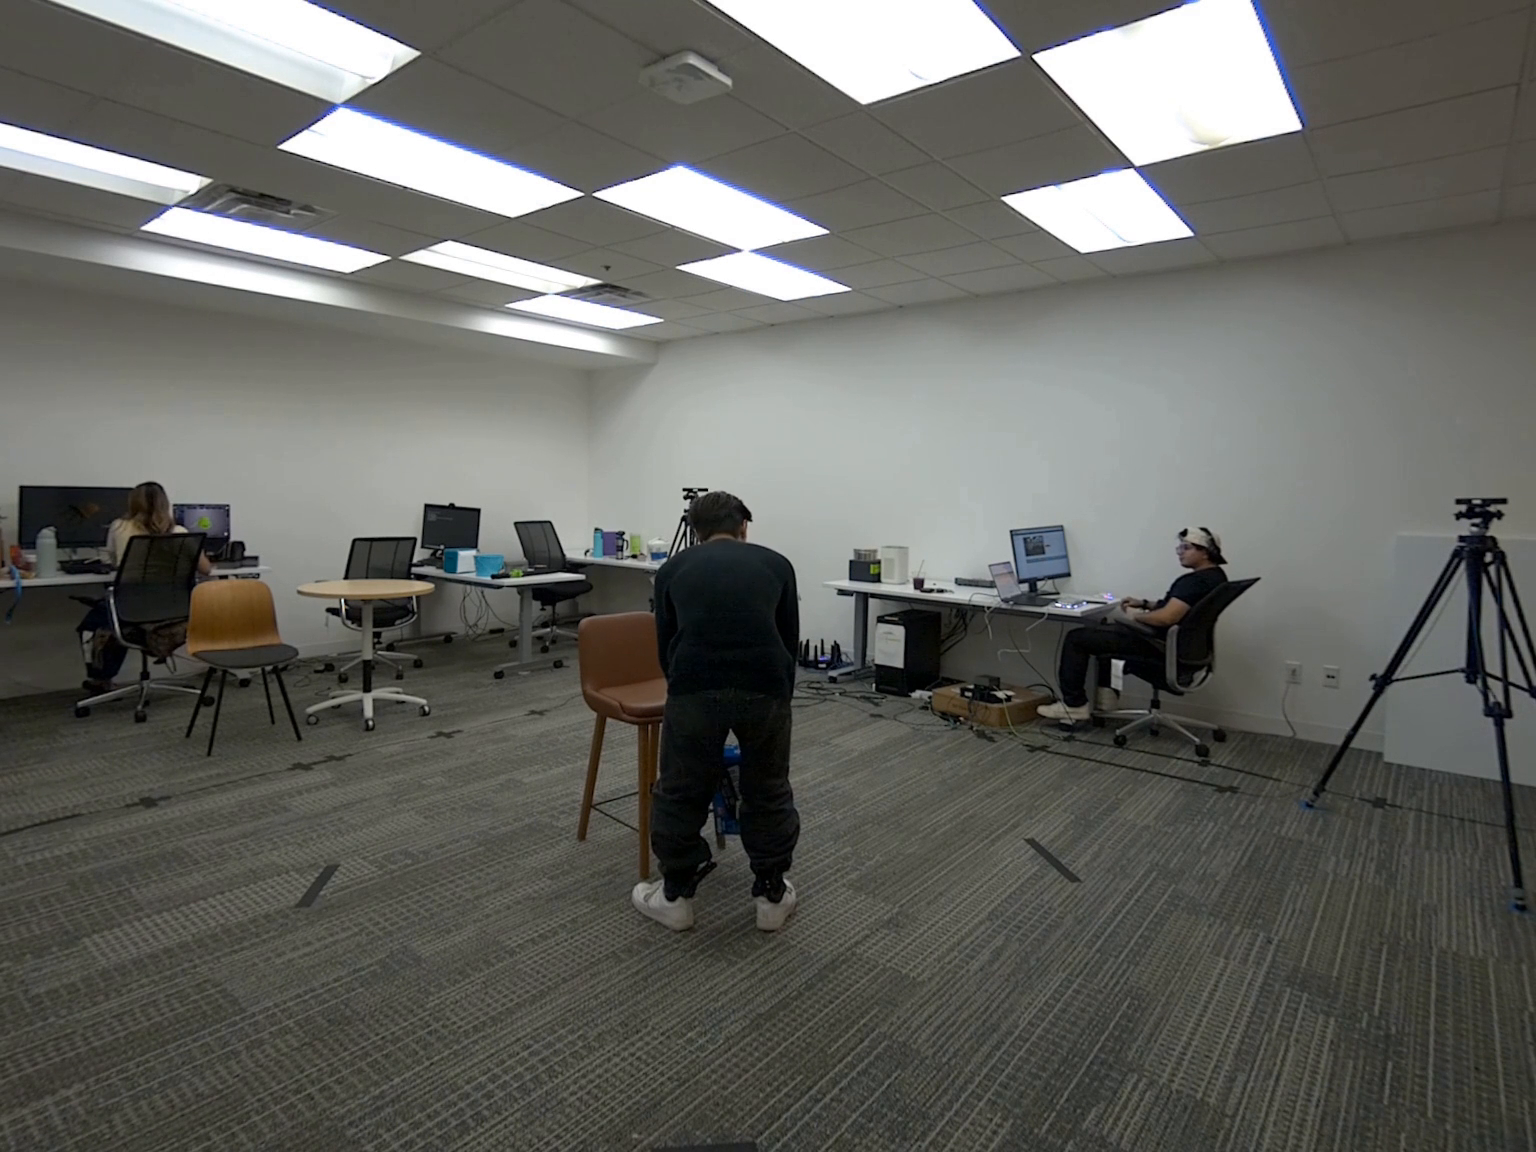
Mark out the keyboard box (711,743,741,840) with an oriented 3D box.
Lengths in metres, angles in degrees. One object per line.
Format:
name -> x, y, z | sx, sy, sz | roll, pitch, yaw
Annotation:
keyboard box -> -0.121, 0.750, 2.998 | 0.176, 0.424, 0.060 | 0, 35, 3
